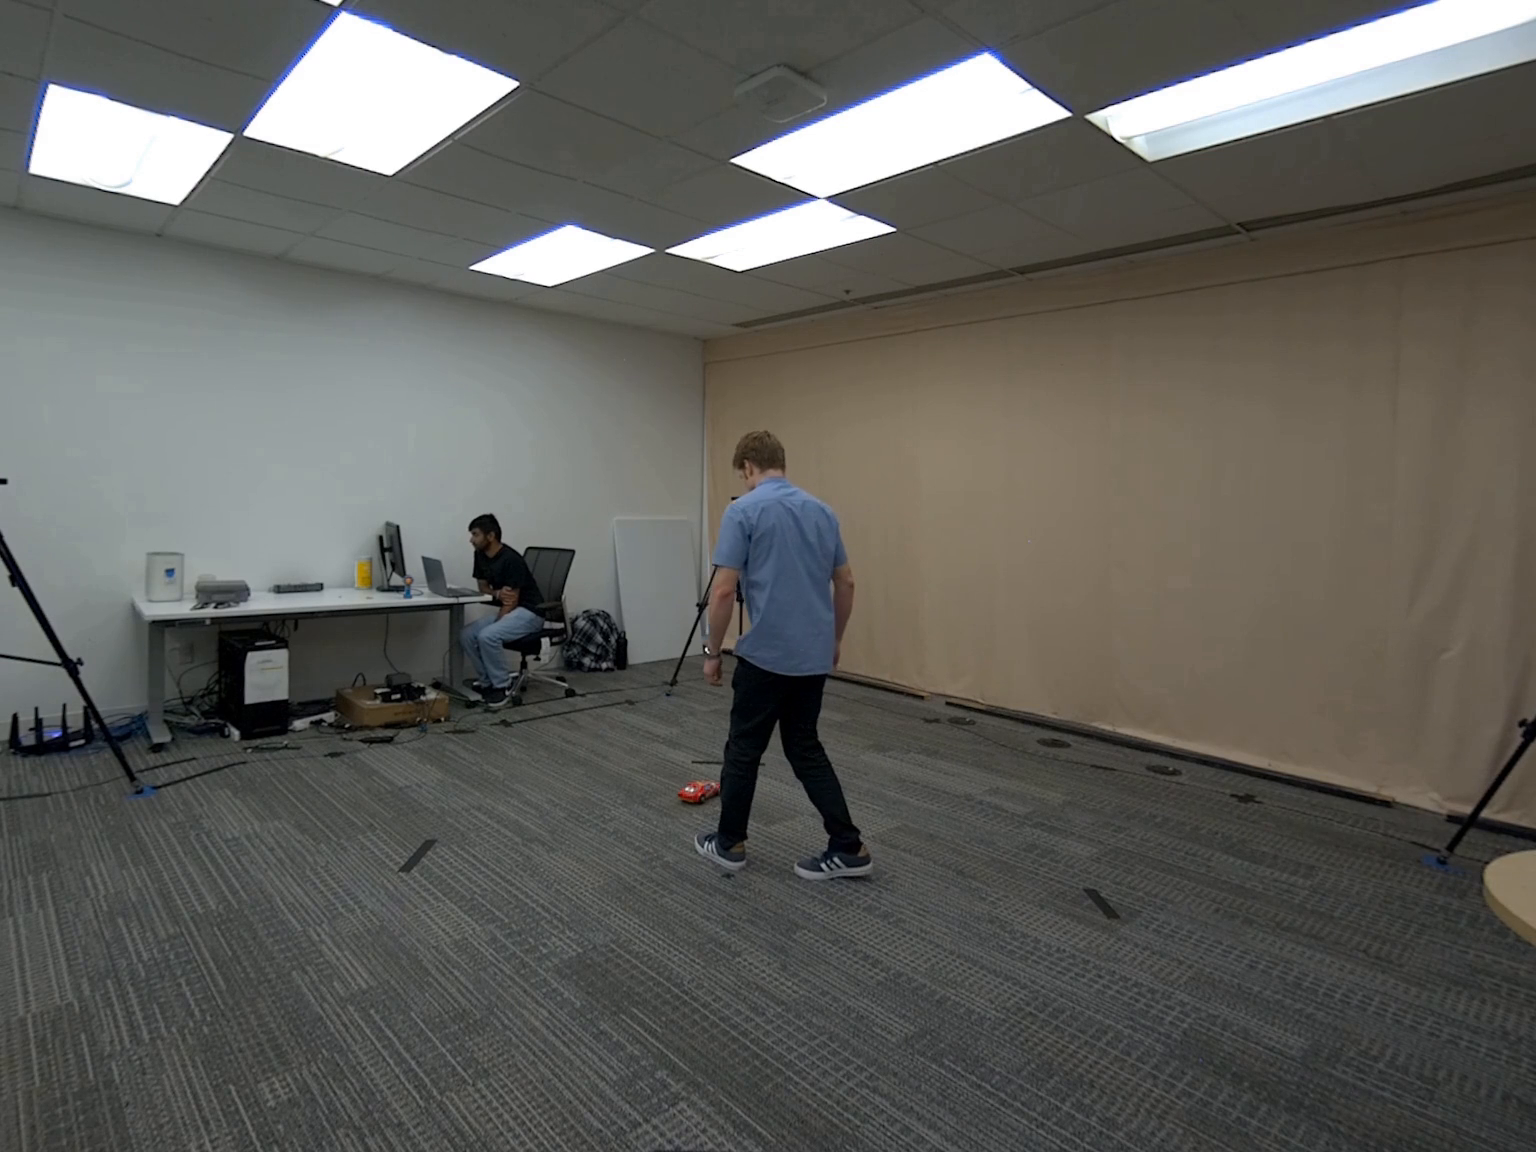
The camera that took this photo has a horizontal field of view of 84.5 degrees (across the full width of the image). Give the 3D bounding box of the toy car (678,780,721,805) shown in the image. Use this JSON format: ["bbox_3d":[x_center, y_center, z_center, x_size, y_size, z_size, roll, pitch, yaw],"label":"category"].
[{"bbox_3d":[-0.333,1.001,3.902,0.133,0.083,0.248,3,-7,31],"label":"toy car"}]
